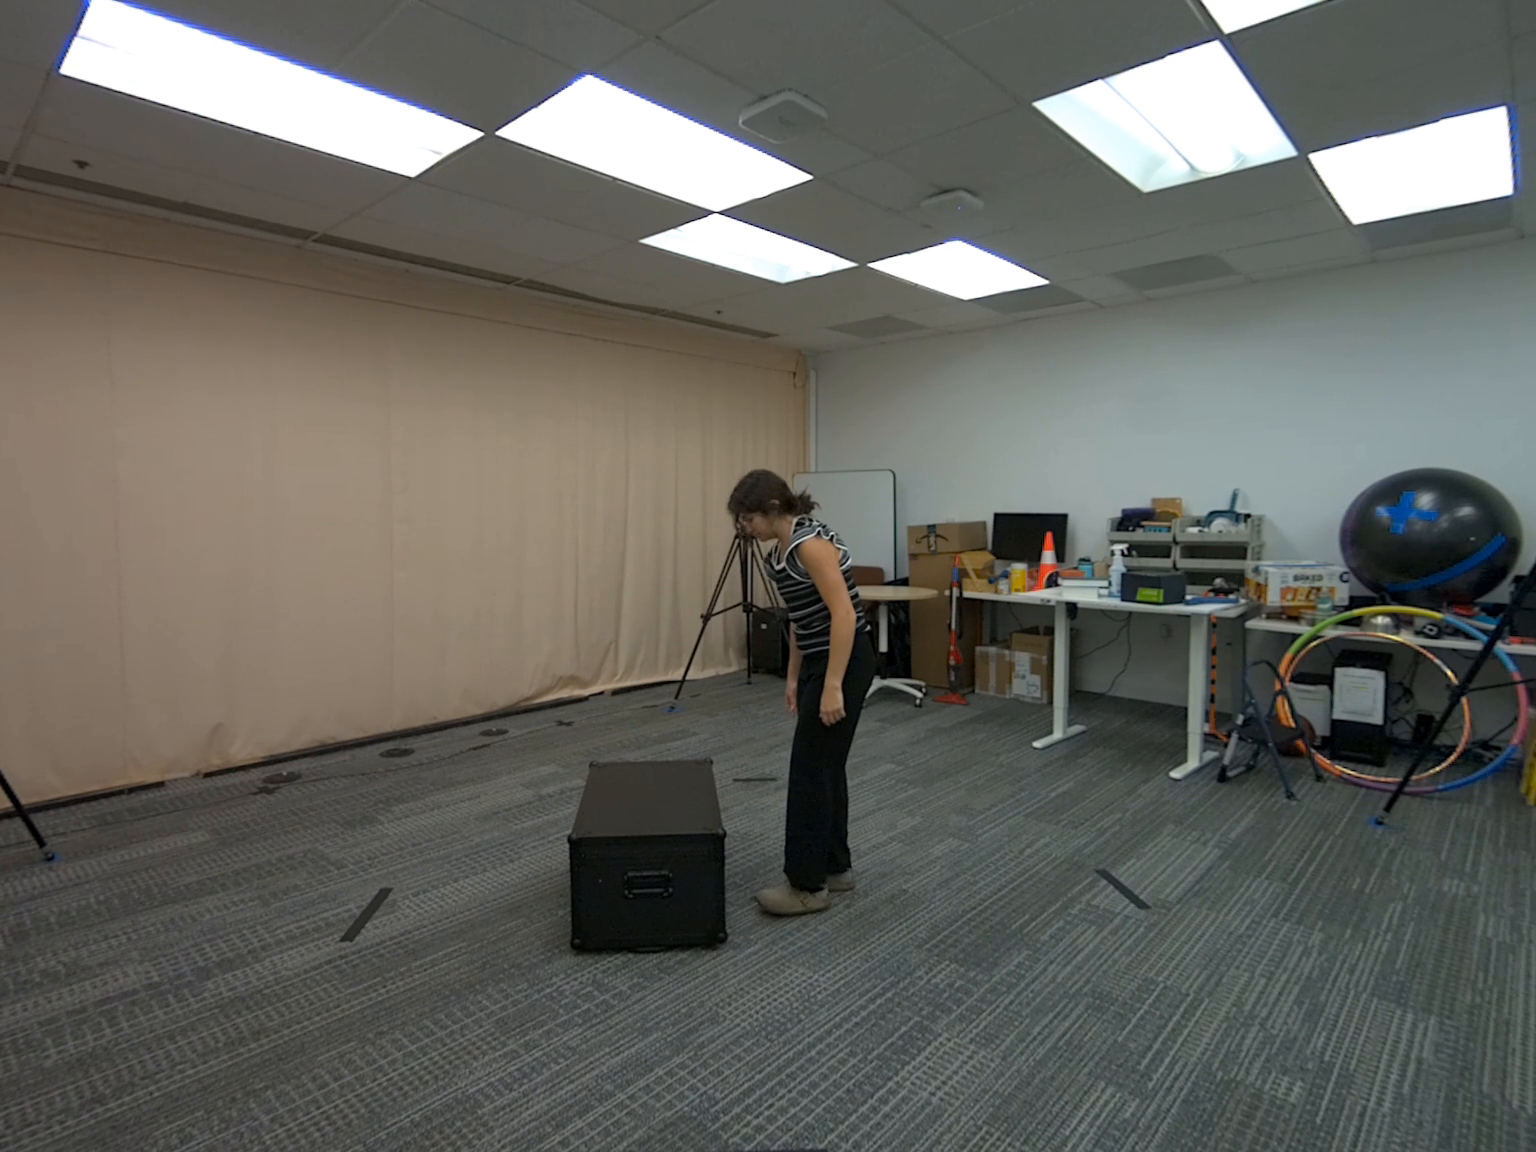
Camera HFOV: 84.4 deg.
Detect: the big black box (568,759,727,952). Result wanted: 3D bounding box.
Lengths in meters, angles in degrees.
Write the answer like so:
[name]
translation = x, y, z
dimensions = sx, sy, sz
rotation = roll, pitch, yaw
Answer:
[big black box]
translation = -0.418, 0.950, 3.026
dimensions = 0.518, 0.395, 0.869
rotation = -1, 5, -6
